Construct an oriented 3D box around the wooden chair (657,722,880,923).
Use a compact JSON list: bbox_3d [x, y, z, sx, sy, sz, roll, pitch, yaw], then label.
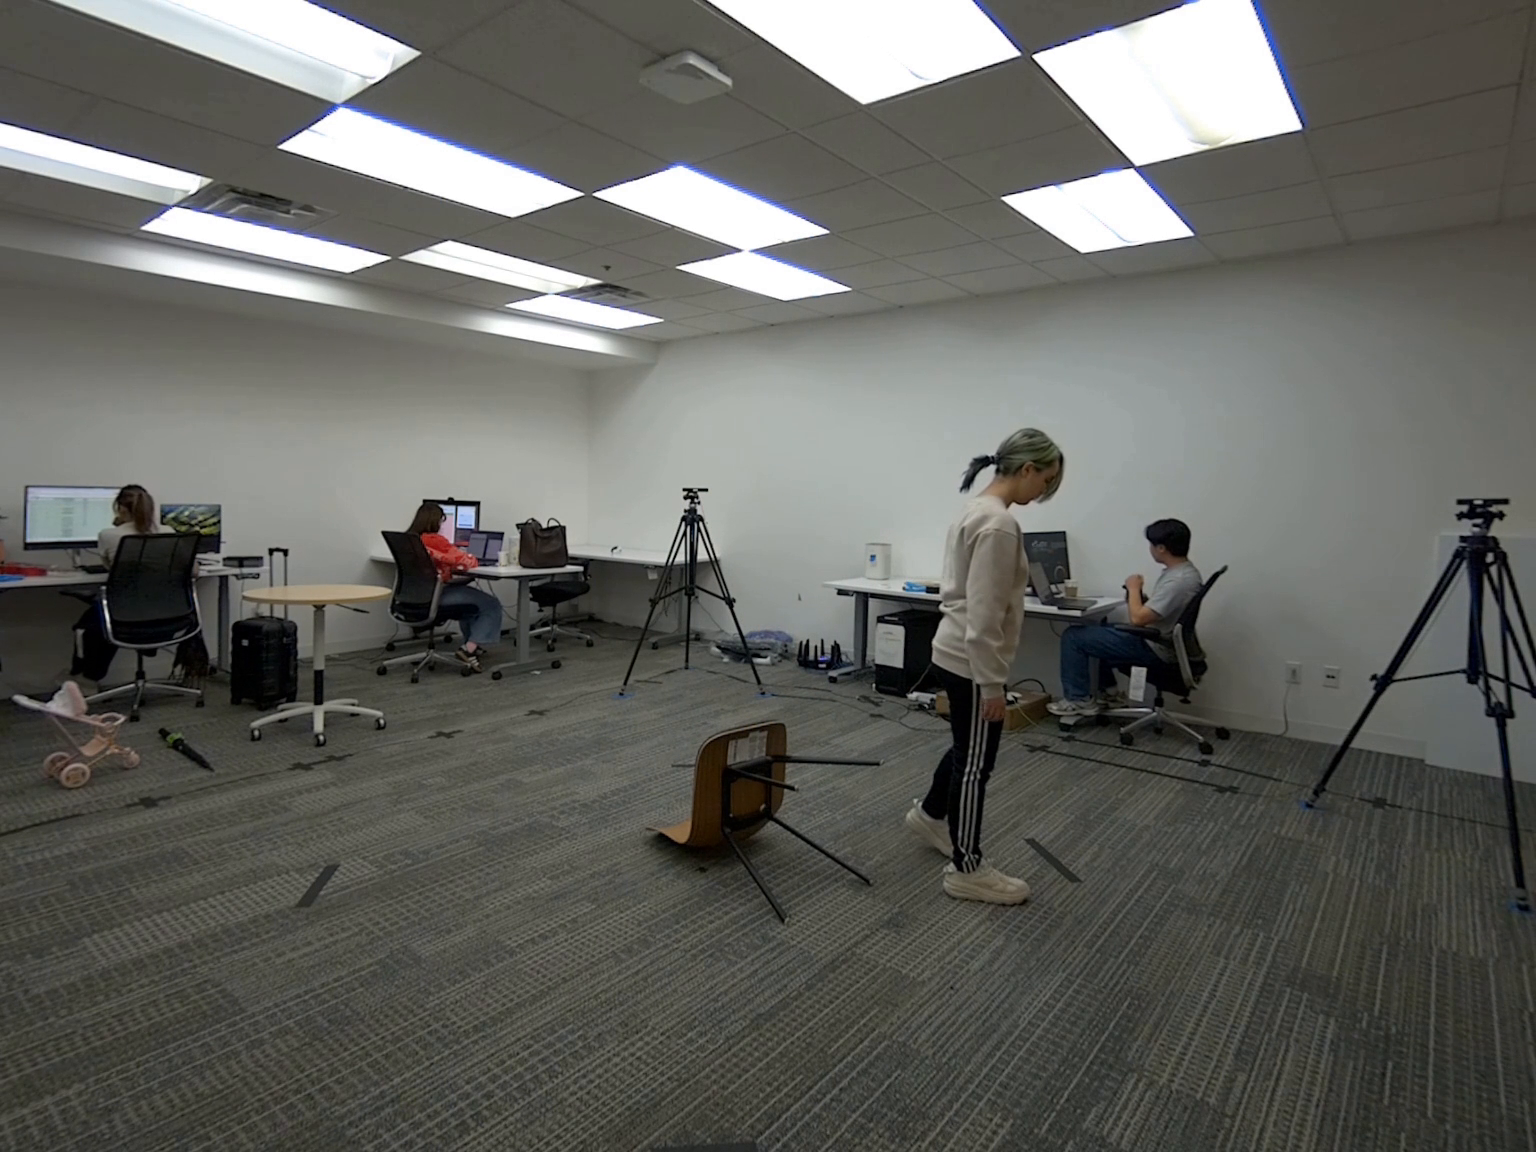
[{"bbox_3d":[-0.078,0.810,3.163,0.463,0.522,0.907,-1,4,-44],"label":"wooden chair"}]
